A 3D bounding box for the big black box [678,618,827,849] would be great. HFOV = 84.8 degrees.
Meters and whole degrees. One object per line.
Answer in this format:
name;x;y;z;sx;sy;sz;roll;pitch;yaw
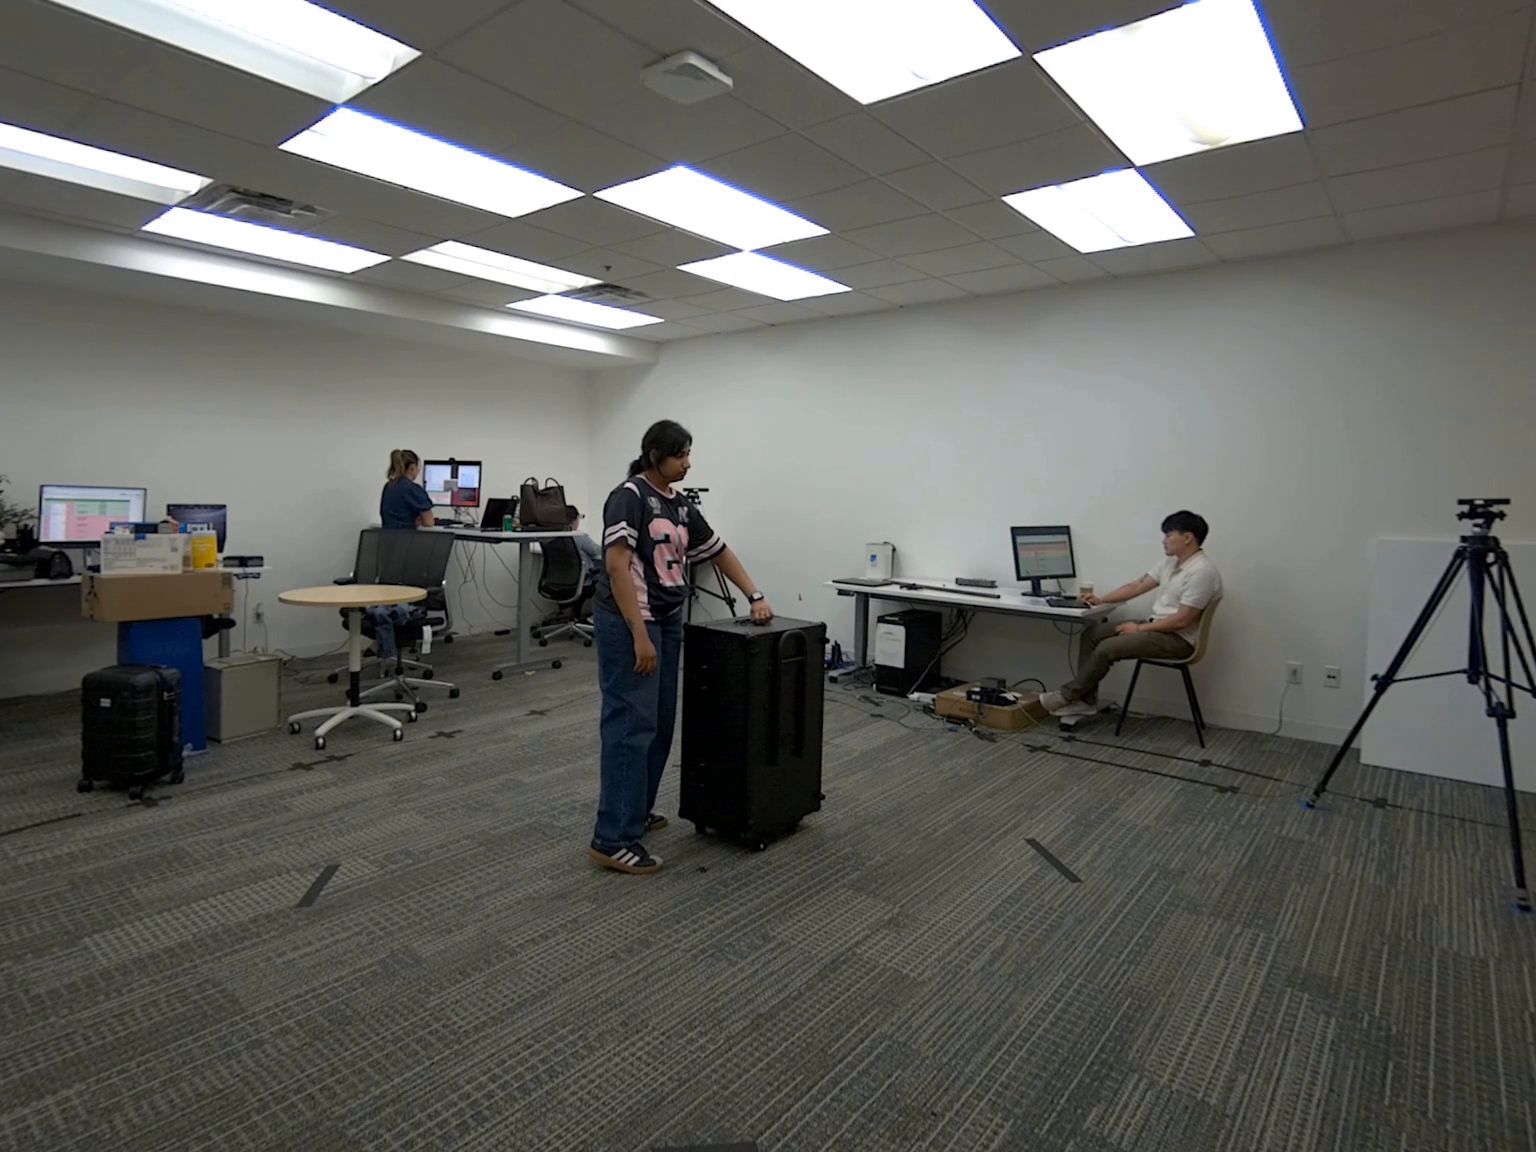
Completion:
big black box;-0.060;0.617;3.461;0.398;0.865;0.508;5;5;40
